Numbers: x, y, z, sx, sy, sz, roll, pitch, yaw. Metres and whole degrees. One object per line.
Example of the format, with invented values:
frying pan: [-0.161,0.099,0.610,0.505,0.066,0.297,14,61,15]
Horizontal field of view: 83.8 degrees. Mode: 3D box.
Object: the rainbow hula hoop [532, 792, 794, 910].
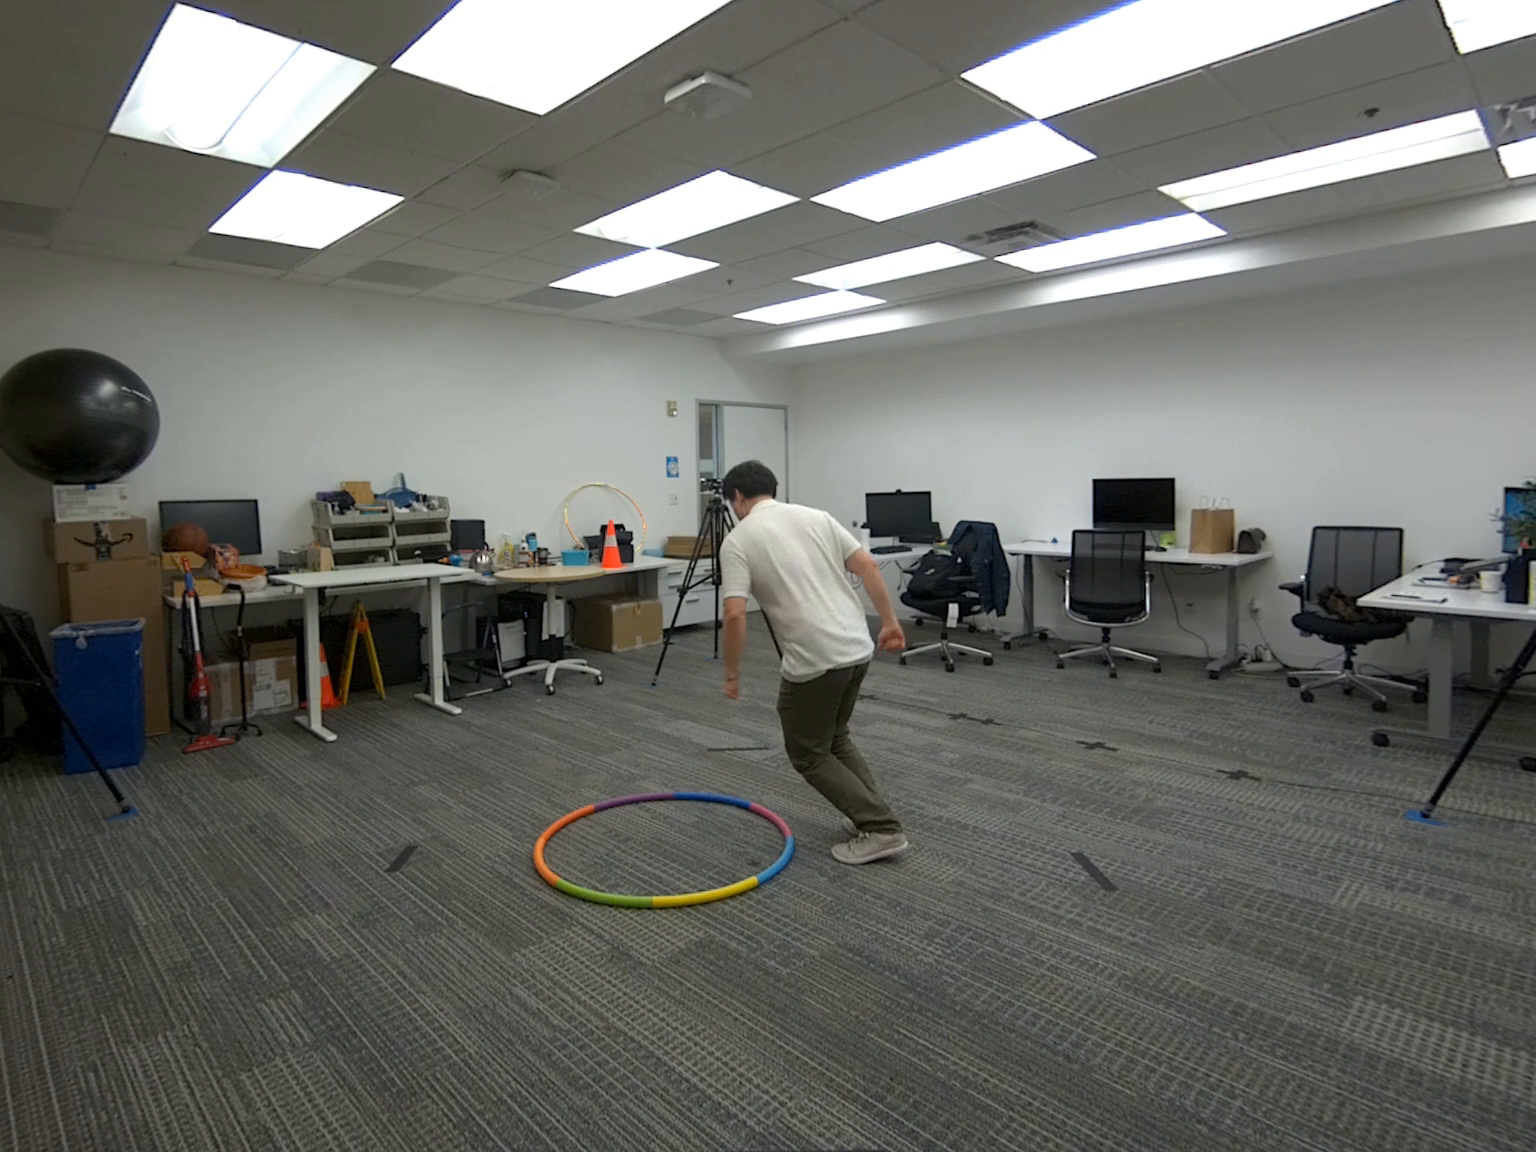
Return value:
rainbow hula hoop: [-0.392,1.003,3.269,0.978,0.035,0.984,-1,6,-2]
